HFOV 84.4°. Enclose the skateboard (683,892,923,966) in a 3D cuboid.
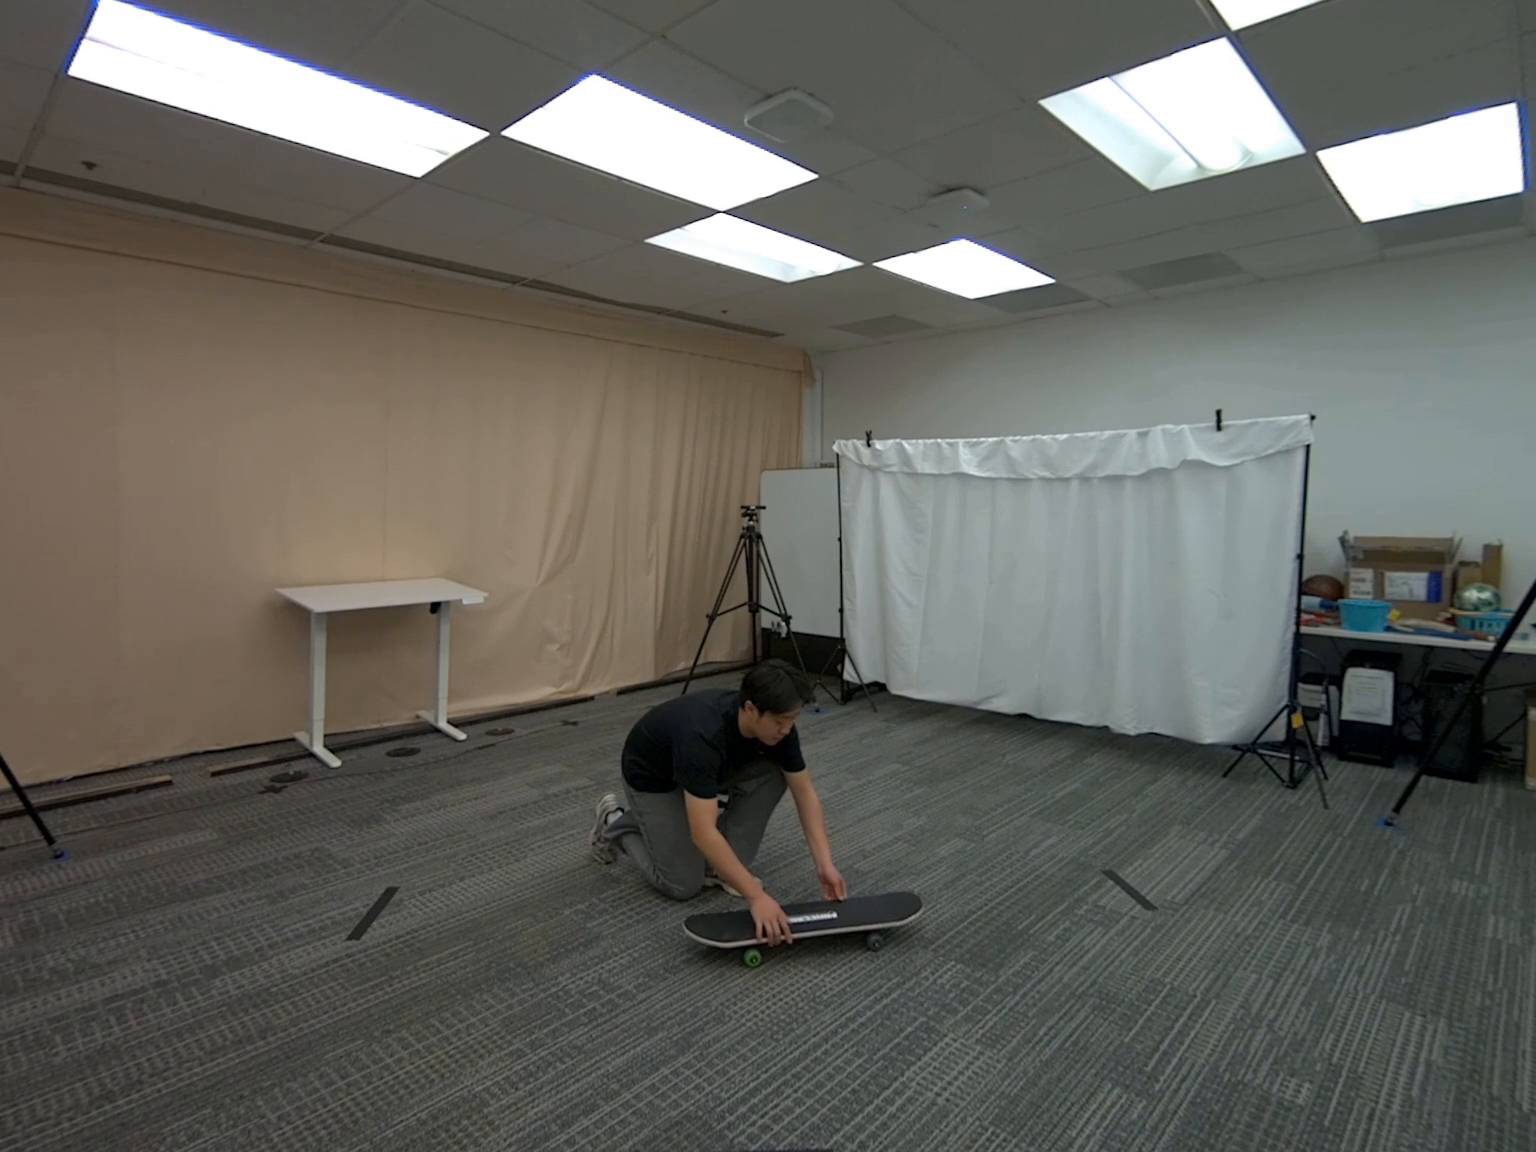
[{"bbox_3d":[0.129,1.108,2.665,0.774,0.110,0.196,-2,4,-13],"label":"skateboard"}]
